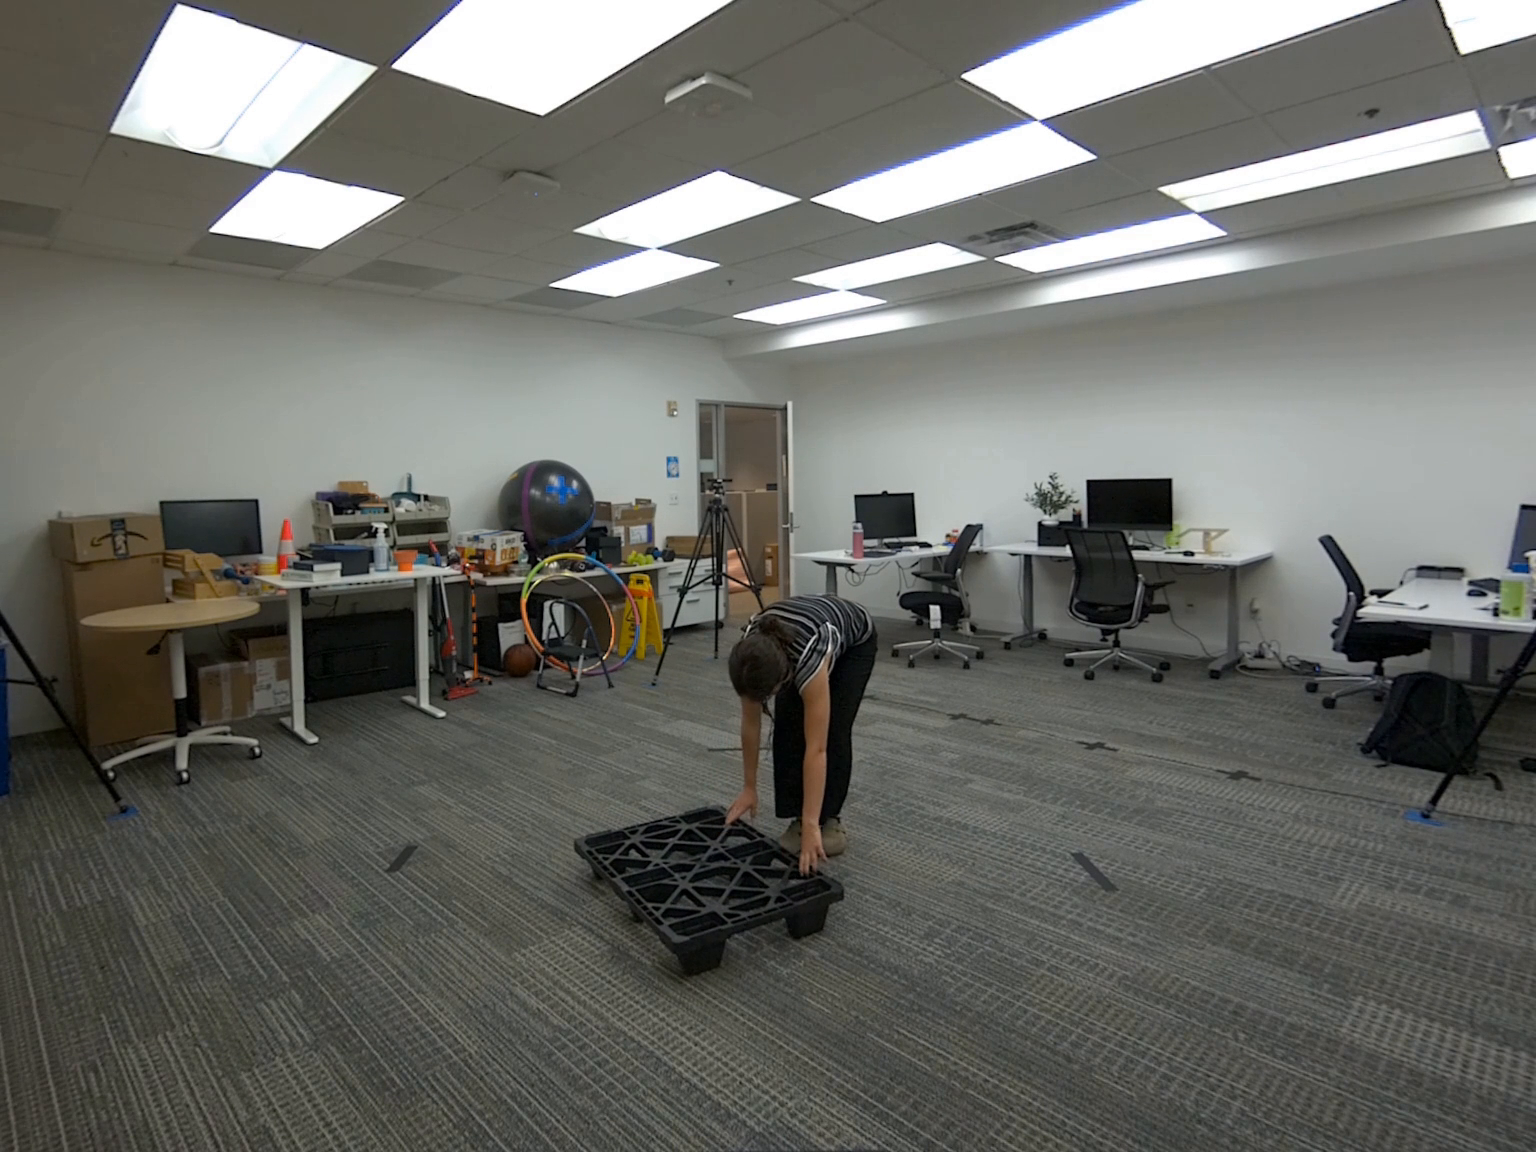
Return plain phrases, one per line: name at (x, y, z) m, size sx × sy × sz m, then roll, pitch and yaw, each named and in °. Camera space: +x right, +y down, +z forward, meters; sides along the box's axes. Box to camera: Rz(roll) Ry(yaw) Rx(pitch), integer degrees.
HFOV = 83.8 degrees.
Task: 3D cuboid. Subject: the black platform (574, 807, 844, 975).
black platform at (-0.222, 1.014, 2.830) m, size 0.591 × 0.142 × 0.829 m, roll -6°, pitch 8°, yaw -31°
